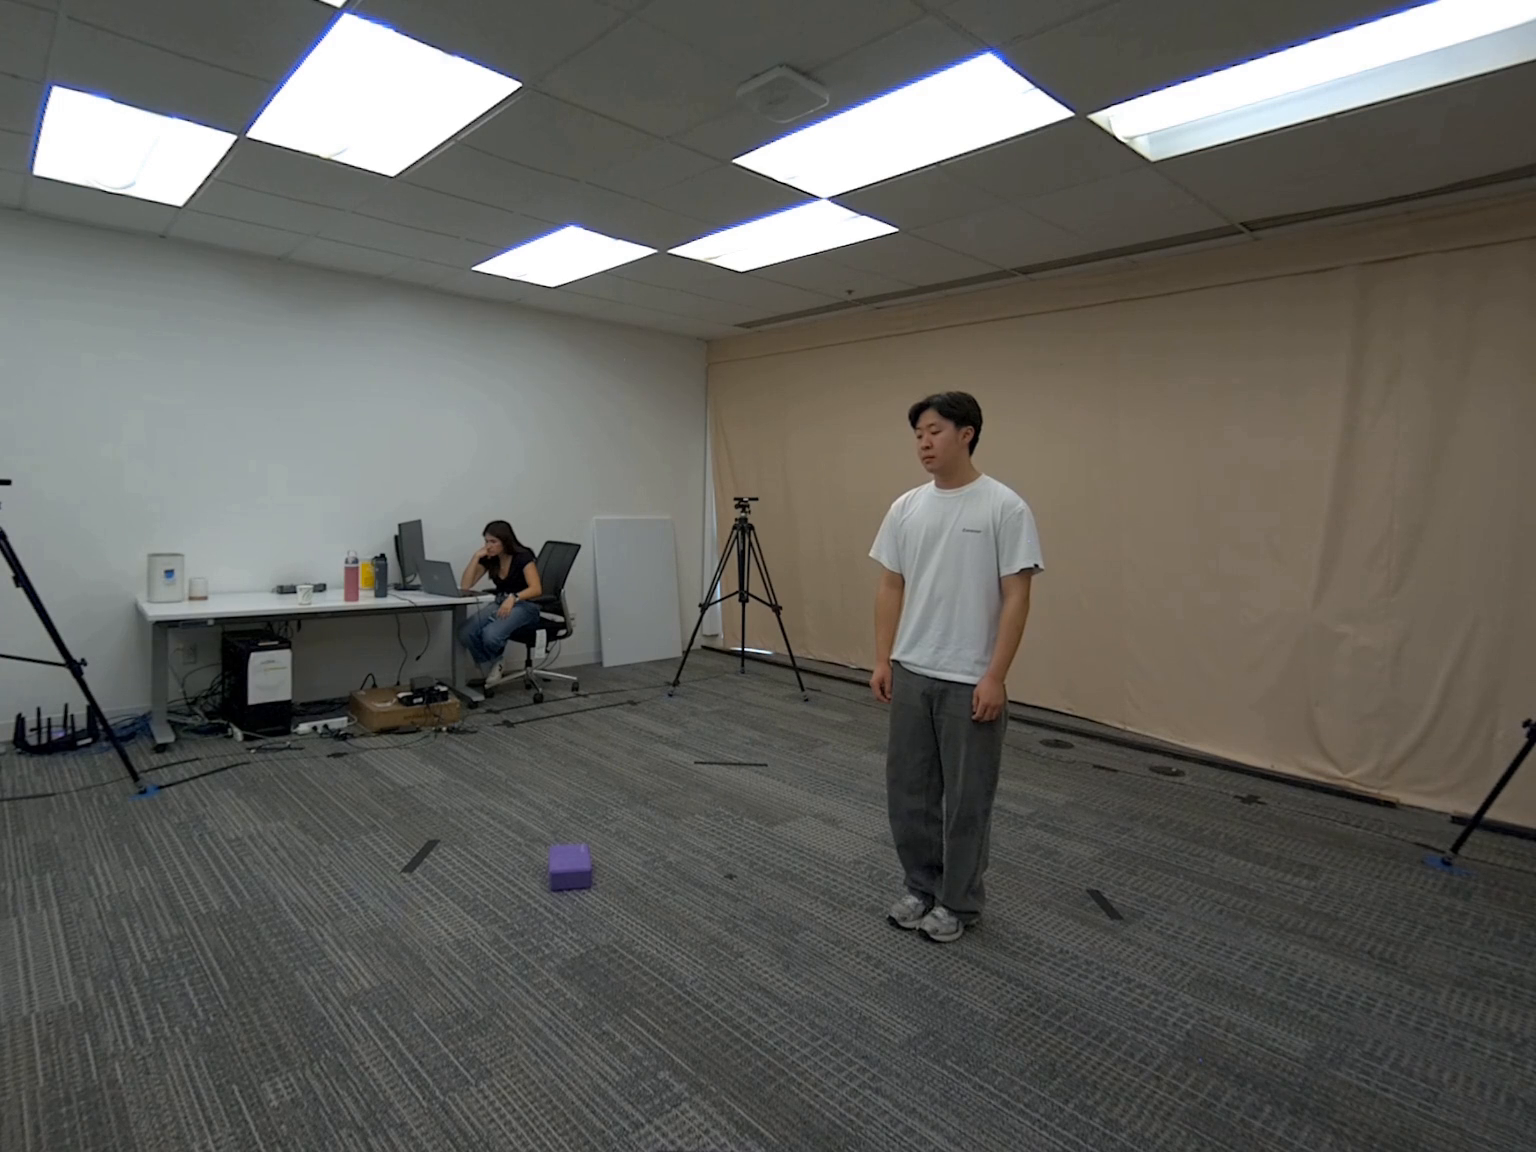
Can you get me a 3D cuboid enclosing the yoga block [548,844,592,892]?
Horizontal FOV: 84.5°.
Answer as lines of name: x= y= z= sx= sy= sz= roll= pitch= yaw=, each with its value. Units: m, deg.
yoga block: x=-0.732 y=1.063 z=3.067 sx=0.147 sy=0.076 sz=0.232 roll=1 pitch=5 yaw=-14
